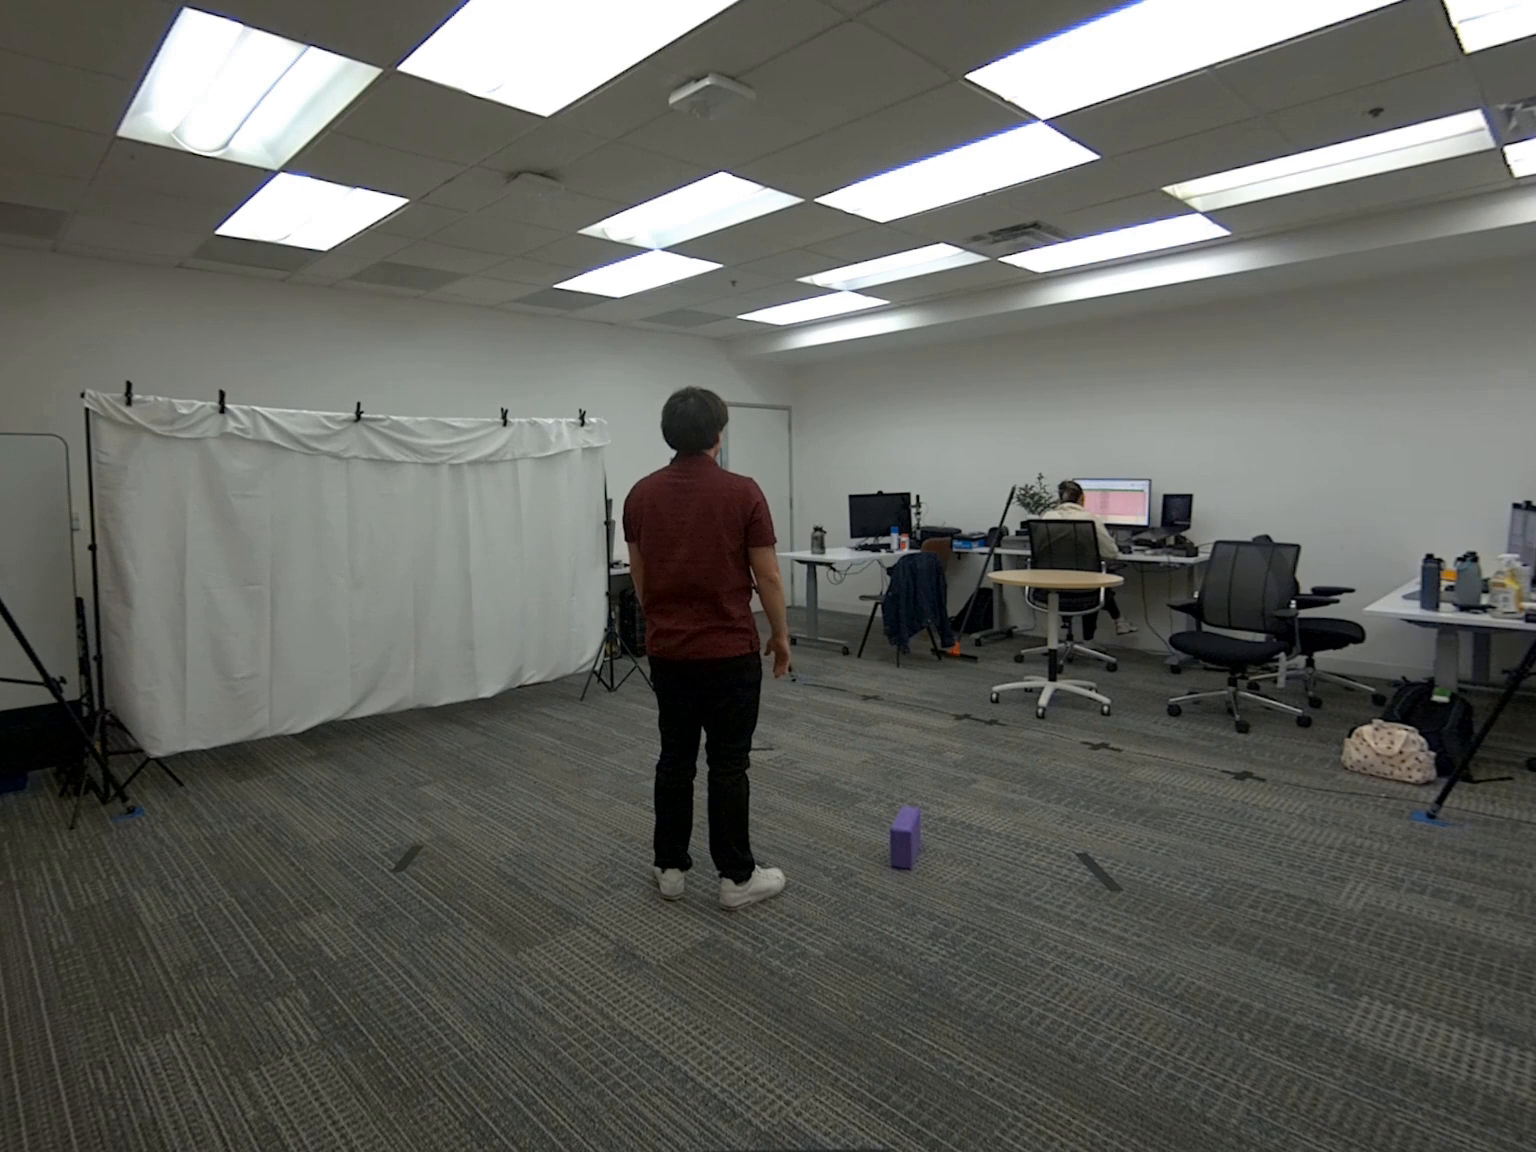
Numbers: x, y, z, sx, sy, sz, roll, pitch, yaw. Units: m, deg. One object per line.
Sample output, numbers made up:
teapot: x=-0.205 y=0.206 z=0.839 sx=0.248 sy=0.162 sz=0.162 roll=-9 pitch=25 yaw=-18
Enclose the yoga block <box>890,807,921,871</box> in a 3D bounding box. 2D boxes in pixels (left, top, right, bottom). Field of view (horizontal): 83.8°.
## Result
yoga block: x=0.508 y=0.955 z=3.142 sx=0.078 sy=0.148 sz=0.226 roll=1 pitch=6 yaw=19
